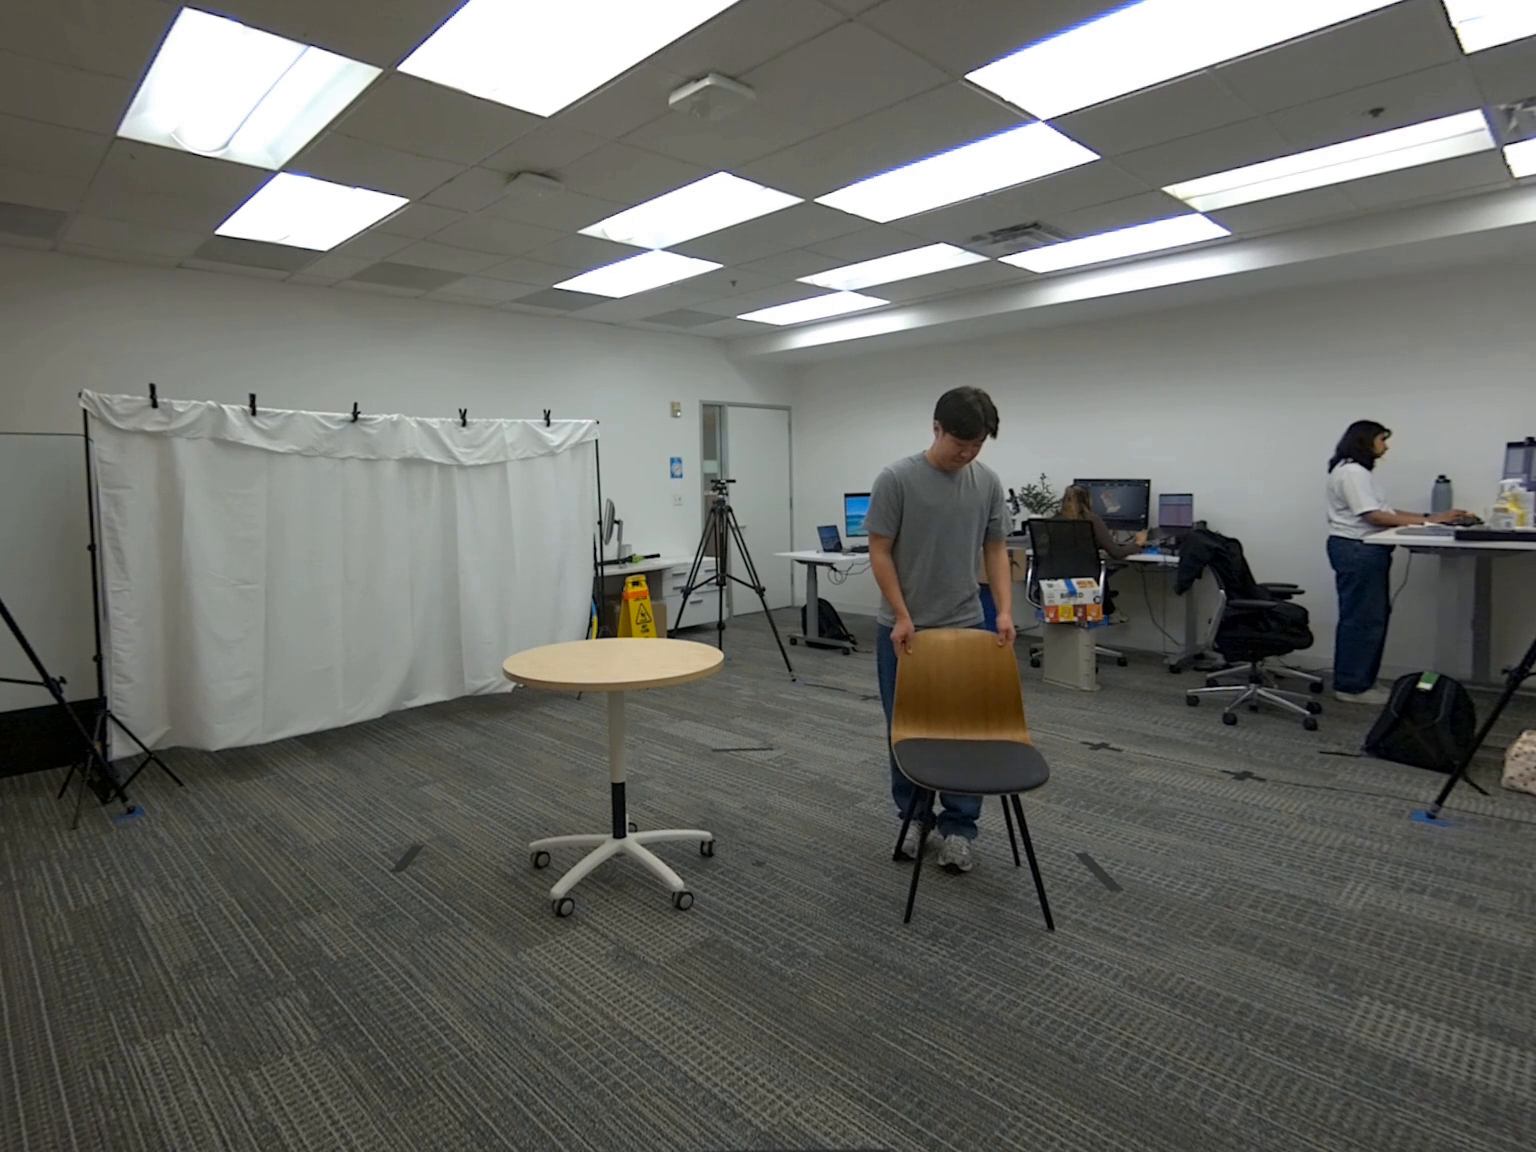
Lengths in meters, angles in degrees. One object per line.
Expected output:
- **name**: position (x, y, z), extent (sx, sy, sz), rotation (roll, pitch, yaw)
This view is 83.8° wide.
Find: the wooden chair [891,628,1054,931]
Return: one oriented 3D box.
- **wooden chair**: position (0.646, 0.637, 2.820), extent (0.481, 0.878, 0.520), rotation (0, 0, 6)
